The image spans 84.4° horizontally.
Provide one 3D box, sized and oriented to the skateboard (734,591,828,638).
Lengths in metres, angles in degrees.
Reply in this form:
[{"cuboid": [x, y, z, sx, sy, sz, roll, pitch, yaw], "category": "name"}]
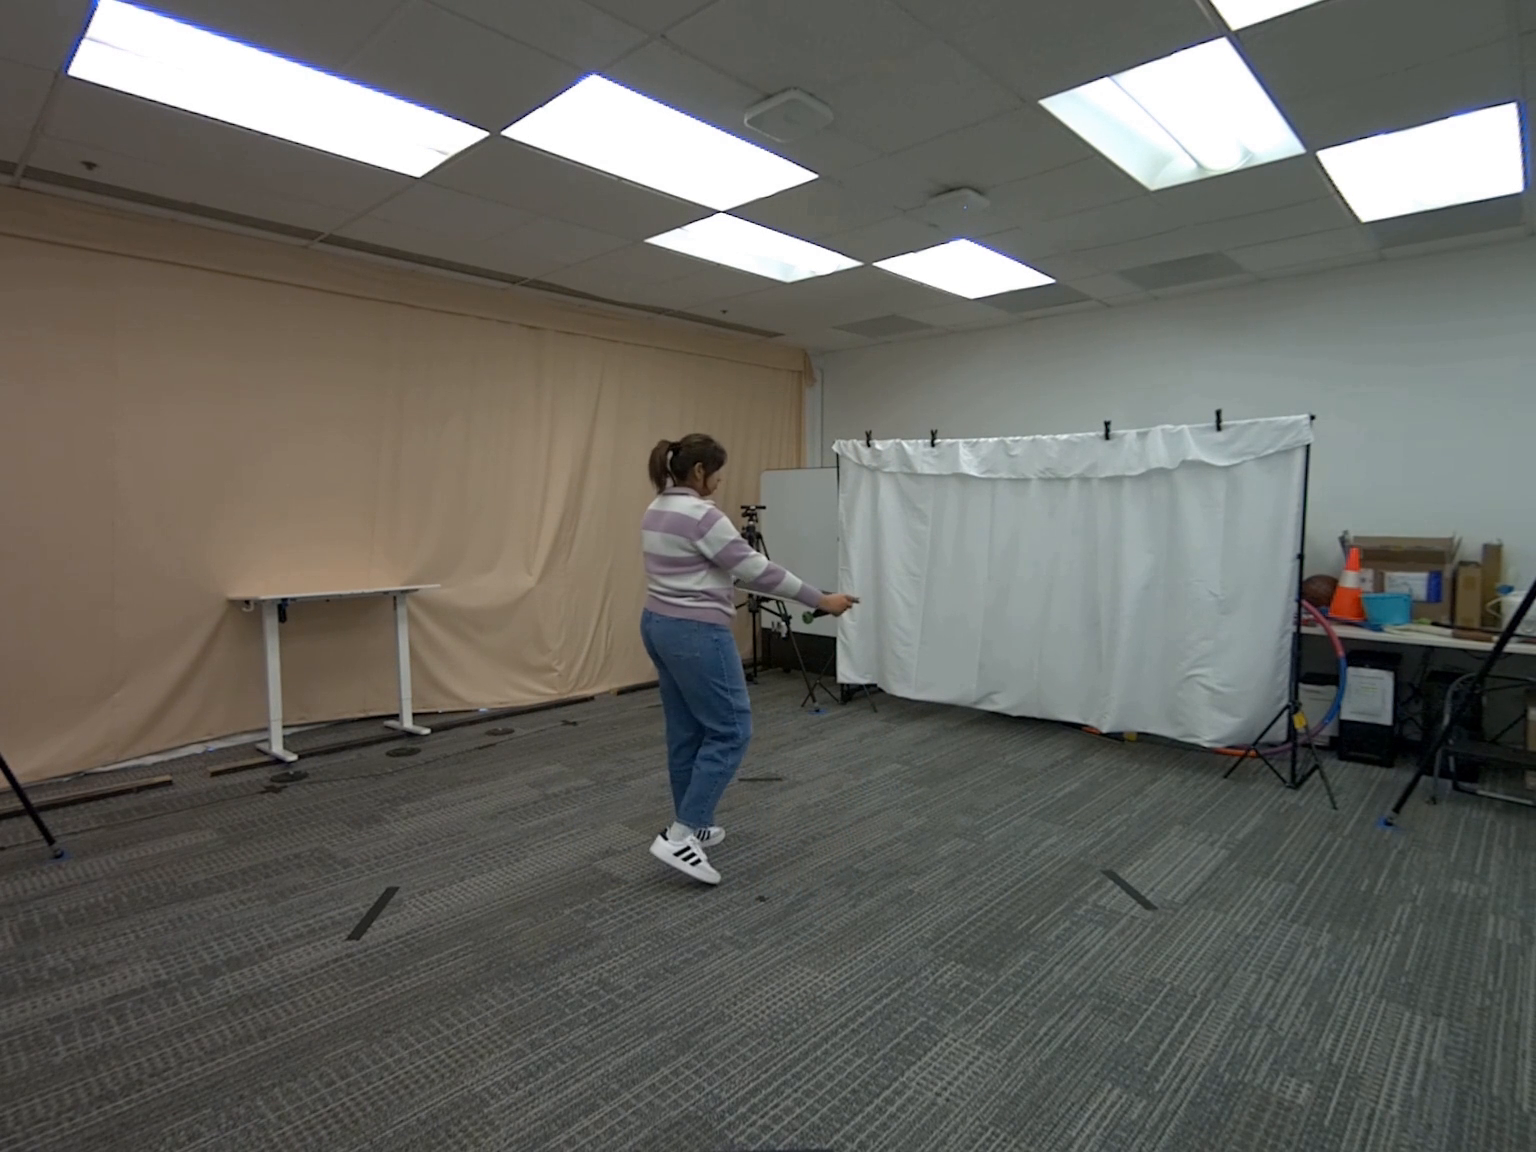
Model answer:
[{"cuboid": [0.088, 0.099, 3.569, 0.188, 0.109, 0.811, -11, 13, -34], "category": "skateboard"}]
